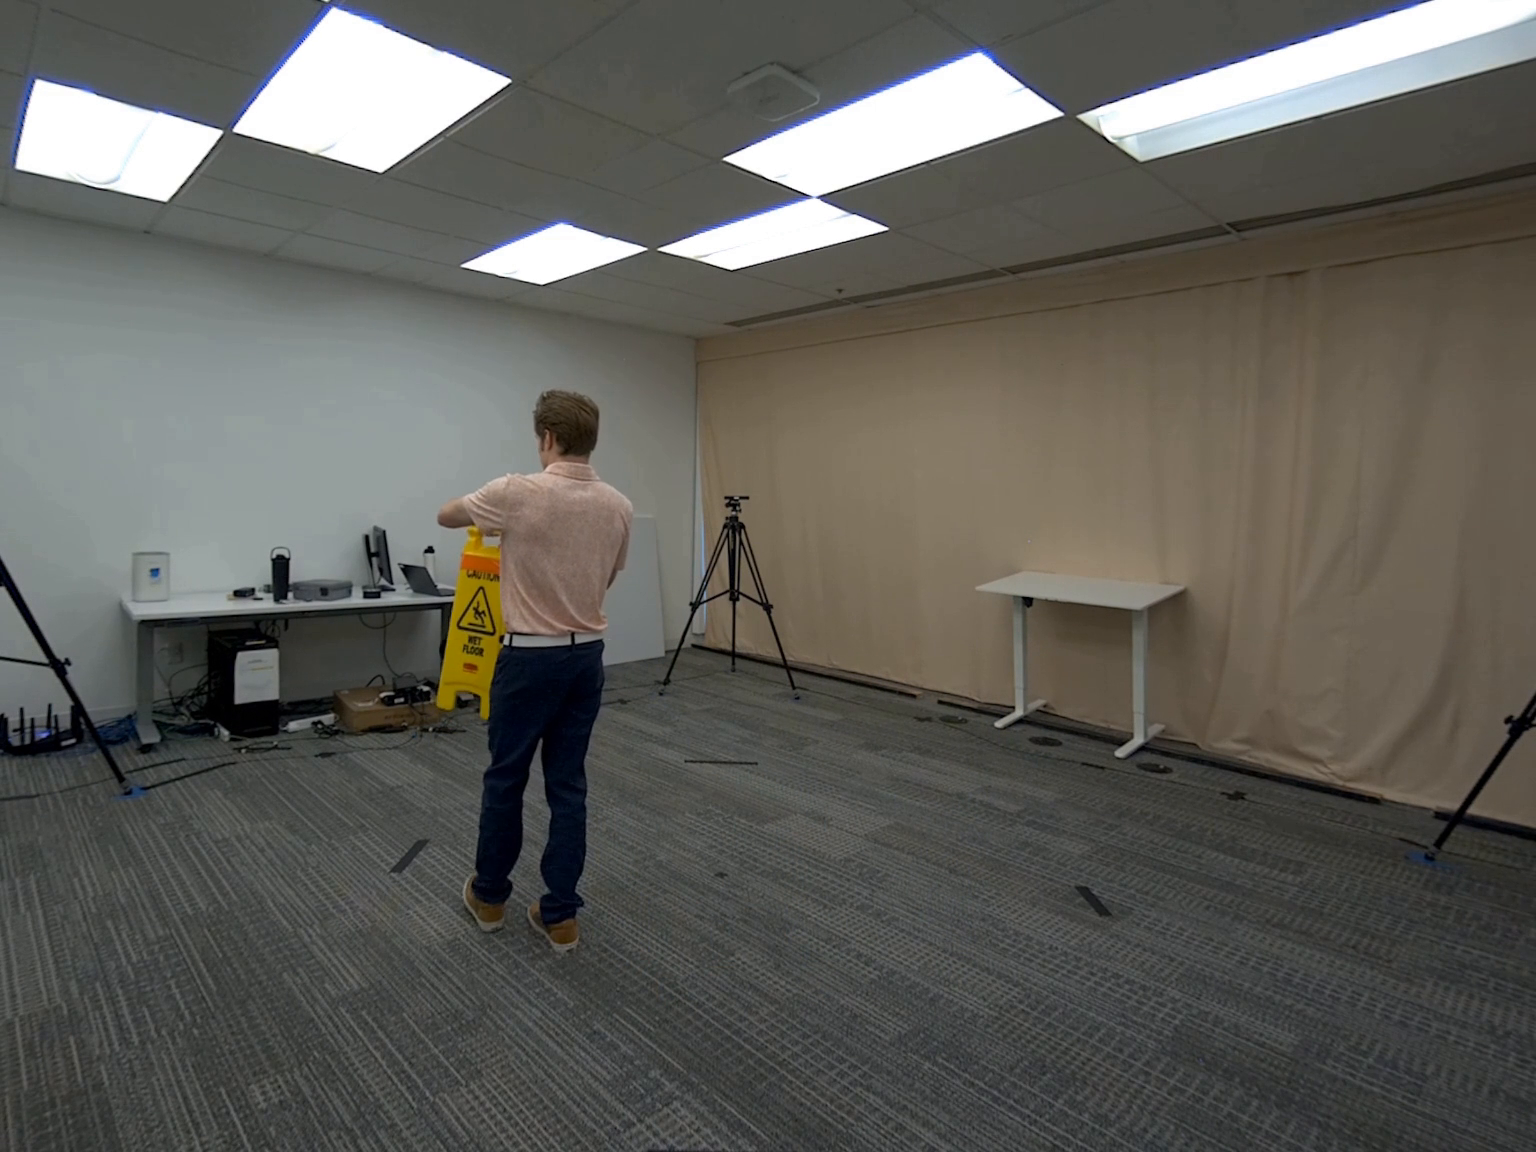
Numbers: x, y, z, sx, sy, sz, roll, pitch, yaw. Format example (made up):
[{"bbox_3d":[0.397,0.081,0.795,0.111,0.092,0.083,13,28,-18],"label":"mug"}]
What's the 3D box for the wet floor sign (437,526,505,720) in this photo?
[{"bbox_3d":[-0.980,0.144,2.950,0.288,0.643,0.285,5,7,26],"label":"wet floor sign"}]
